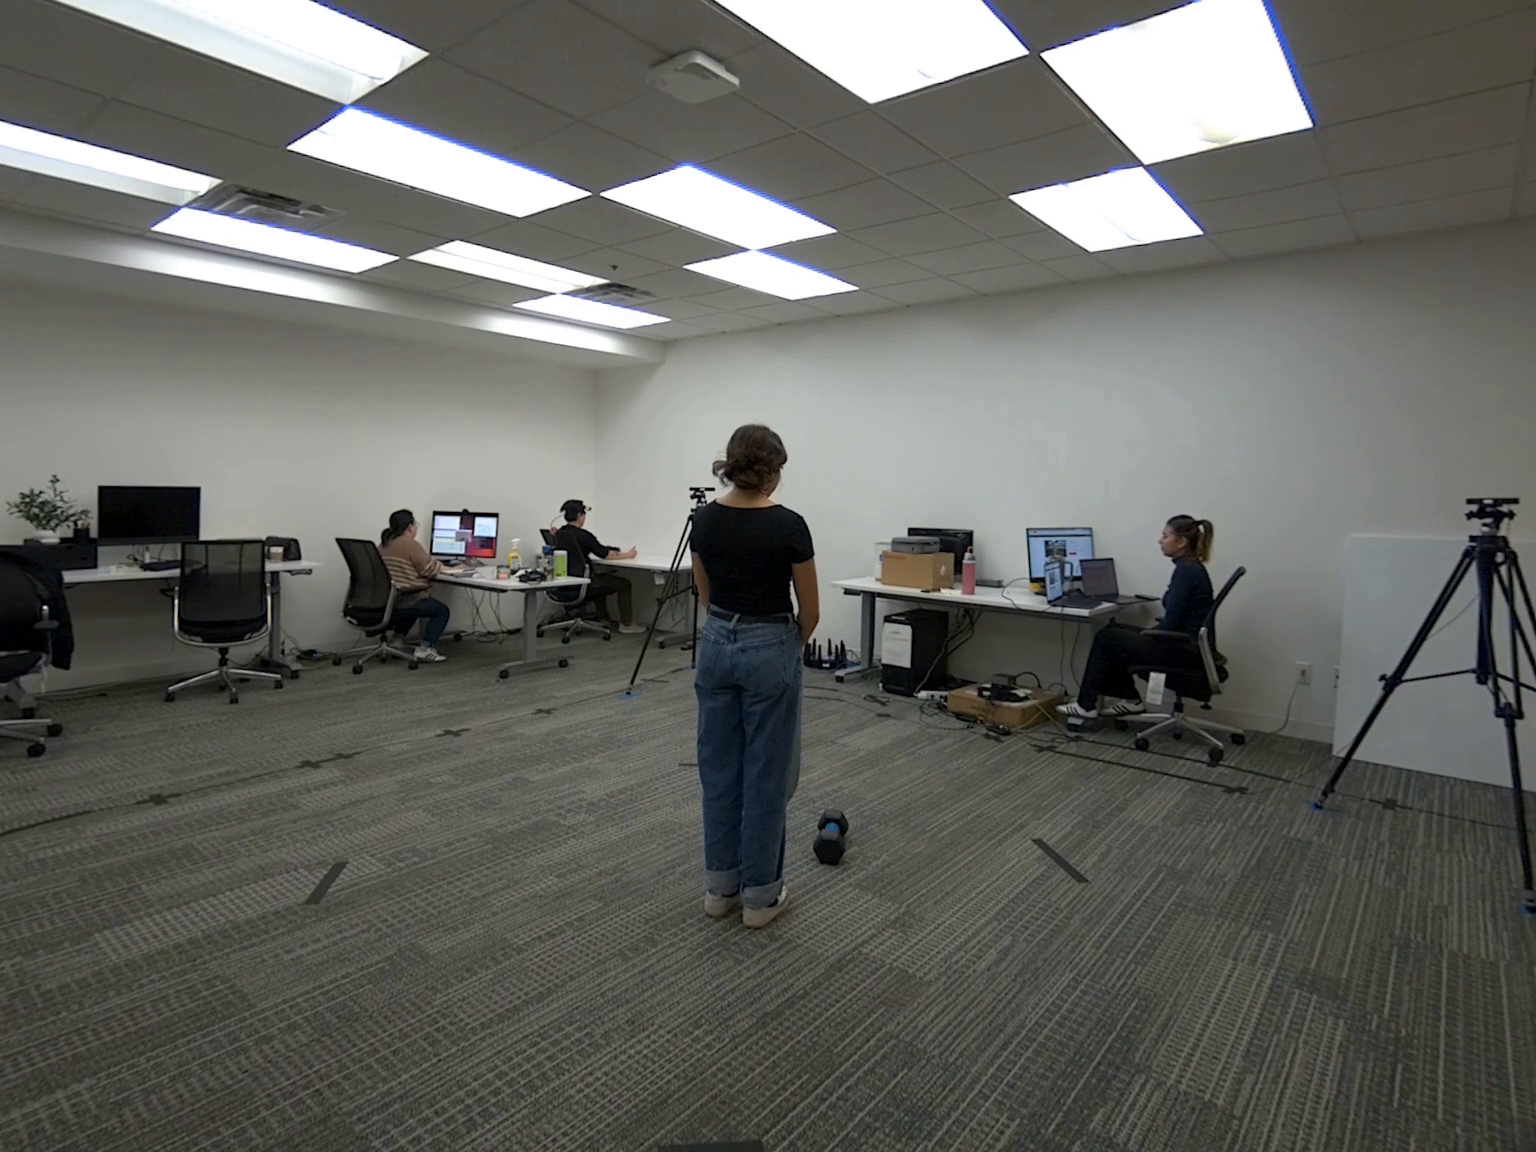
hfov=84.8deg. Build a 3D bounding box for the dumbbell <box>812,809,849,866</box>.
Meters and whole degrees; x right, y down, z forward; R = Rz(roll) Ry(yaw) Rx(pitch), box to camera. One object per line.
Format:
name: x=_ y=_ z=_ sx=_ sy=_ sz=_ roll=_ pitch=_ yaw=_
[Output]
dumbbell: x=0.240 y=1.002 z=3.298 sx=0.110 sy=0.122 sz=0.291 roll=31 pitch=8 yaw=5
